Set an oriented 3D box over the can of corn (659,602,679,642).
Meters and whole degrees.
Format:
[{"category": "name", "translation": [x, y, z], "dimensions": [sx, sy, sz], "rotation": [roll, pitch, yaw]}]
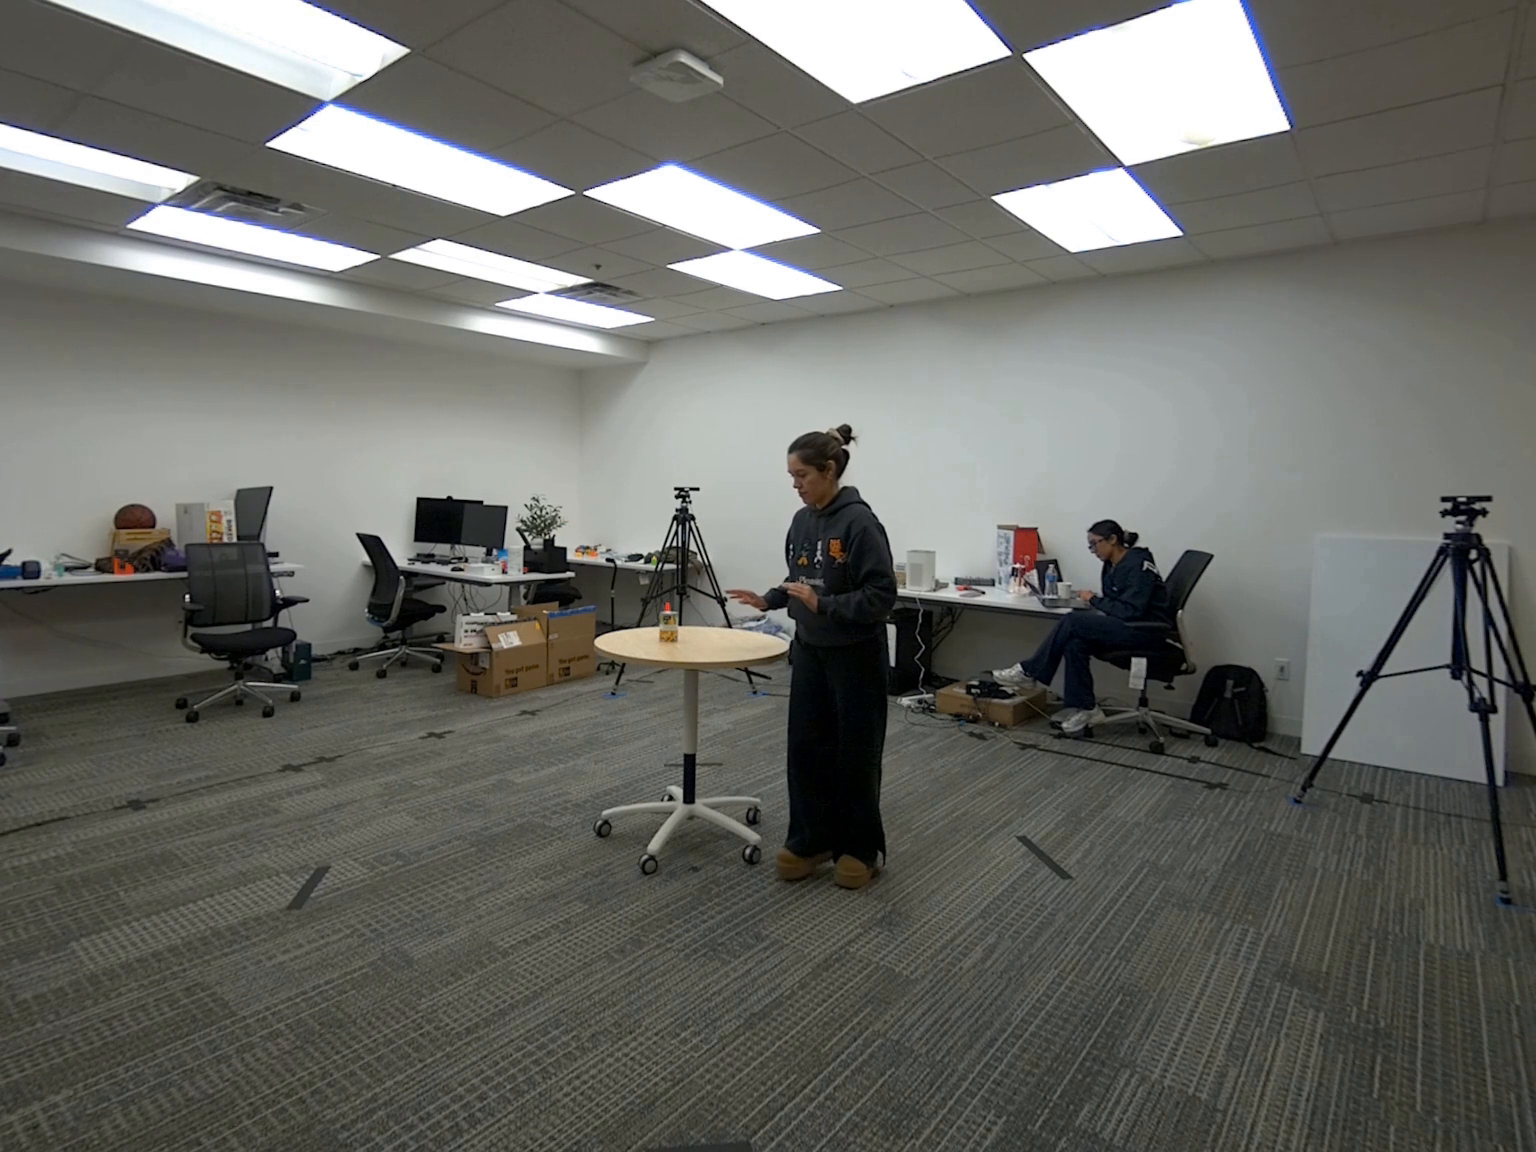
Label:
[{"category": "can of corn", "translation": [-0.401, 0.197, 3.376], "dimensions": [0.074, 0.111, 0.074], "rotation": [1, 3, -2]}]
